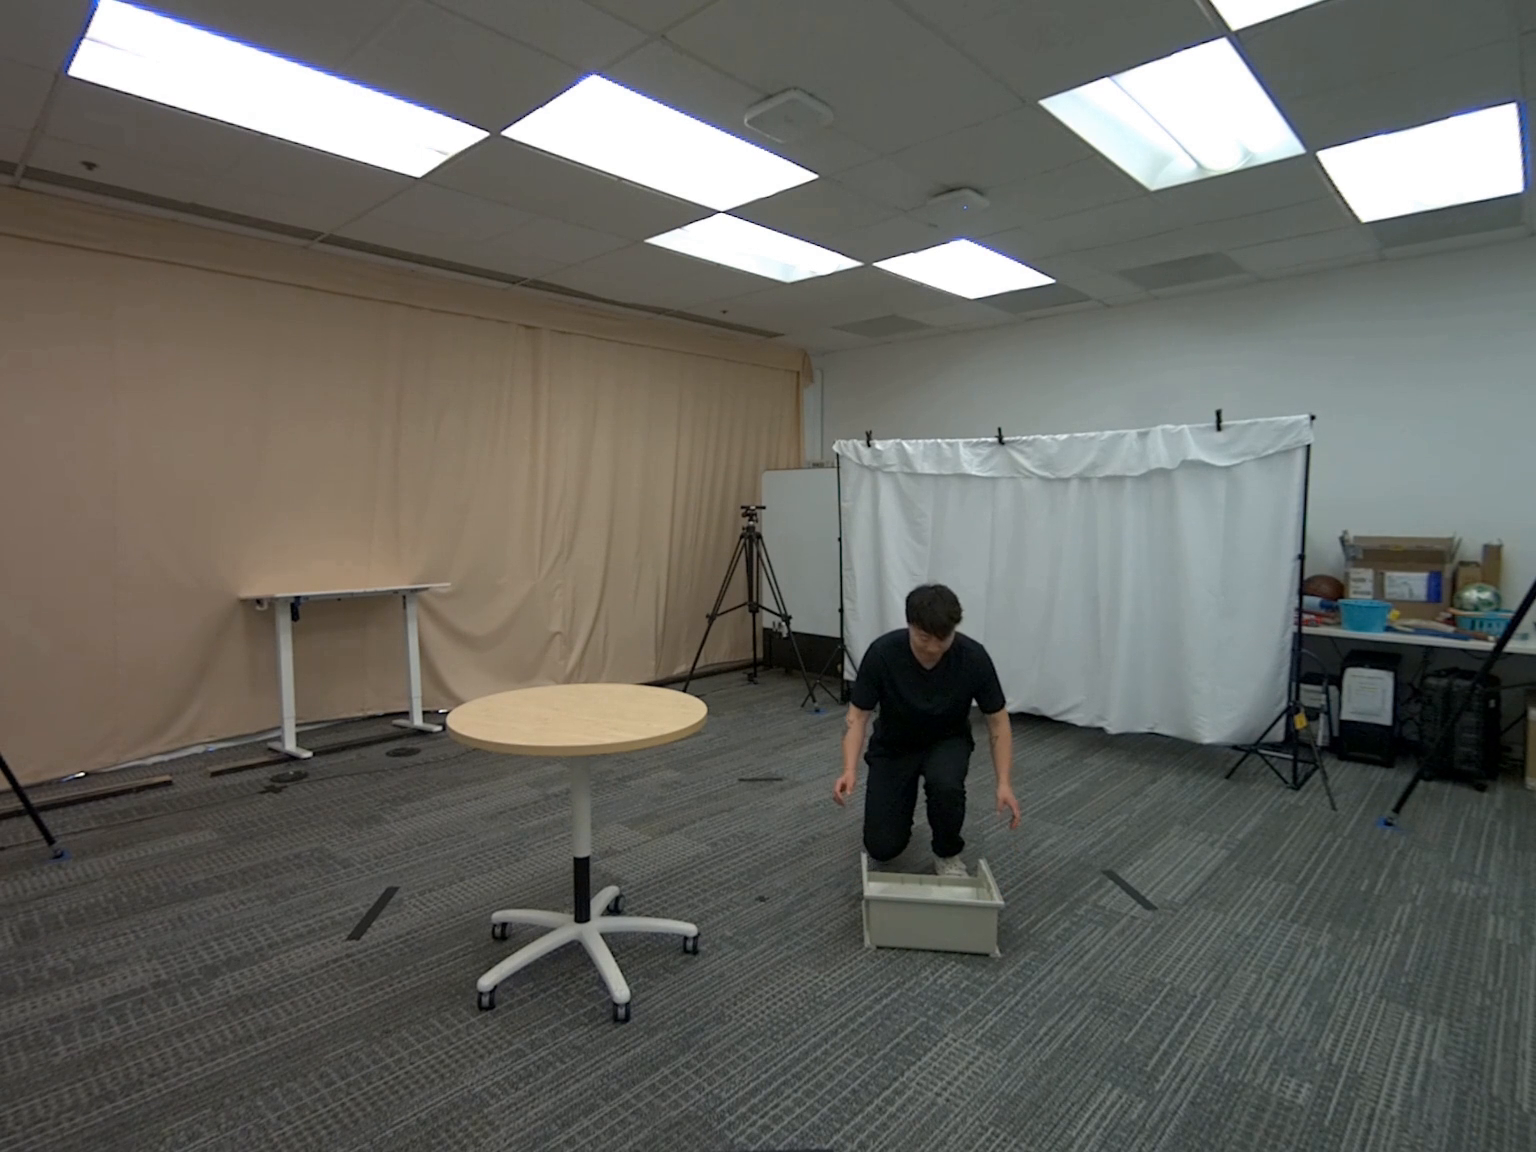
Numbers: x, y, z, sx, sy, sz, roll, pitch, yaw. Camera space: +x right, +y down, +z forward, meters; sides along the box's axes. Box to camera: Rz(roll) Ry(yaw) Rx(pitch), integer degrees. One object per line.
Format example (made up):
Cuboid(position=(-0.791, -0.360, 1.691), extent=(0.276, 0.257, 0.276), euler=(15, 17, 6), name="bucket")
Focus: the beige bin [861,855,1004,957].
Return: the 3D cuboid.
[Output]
Cuboid(position=(0.531, 1.069, 2.787), extent=(0.426, 0.188, 0.375), euler=(0, 5, 6), name="beige bin")
